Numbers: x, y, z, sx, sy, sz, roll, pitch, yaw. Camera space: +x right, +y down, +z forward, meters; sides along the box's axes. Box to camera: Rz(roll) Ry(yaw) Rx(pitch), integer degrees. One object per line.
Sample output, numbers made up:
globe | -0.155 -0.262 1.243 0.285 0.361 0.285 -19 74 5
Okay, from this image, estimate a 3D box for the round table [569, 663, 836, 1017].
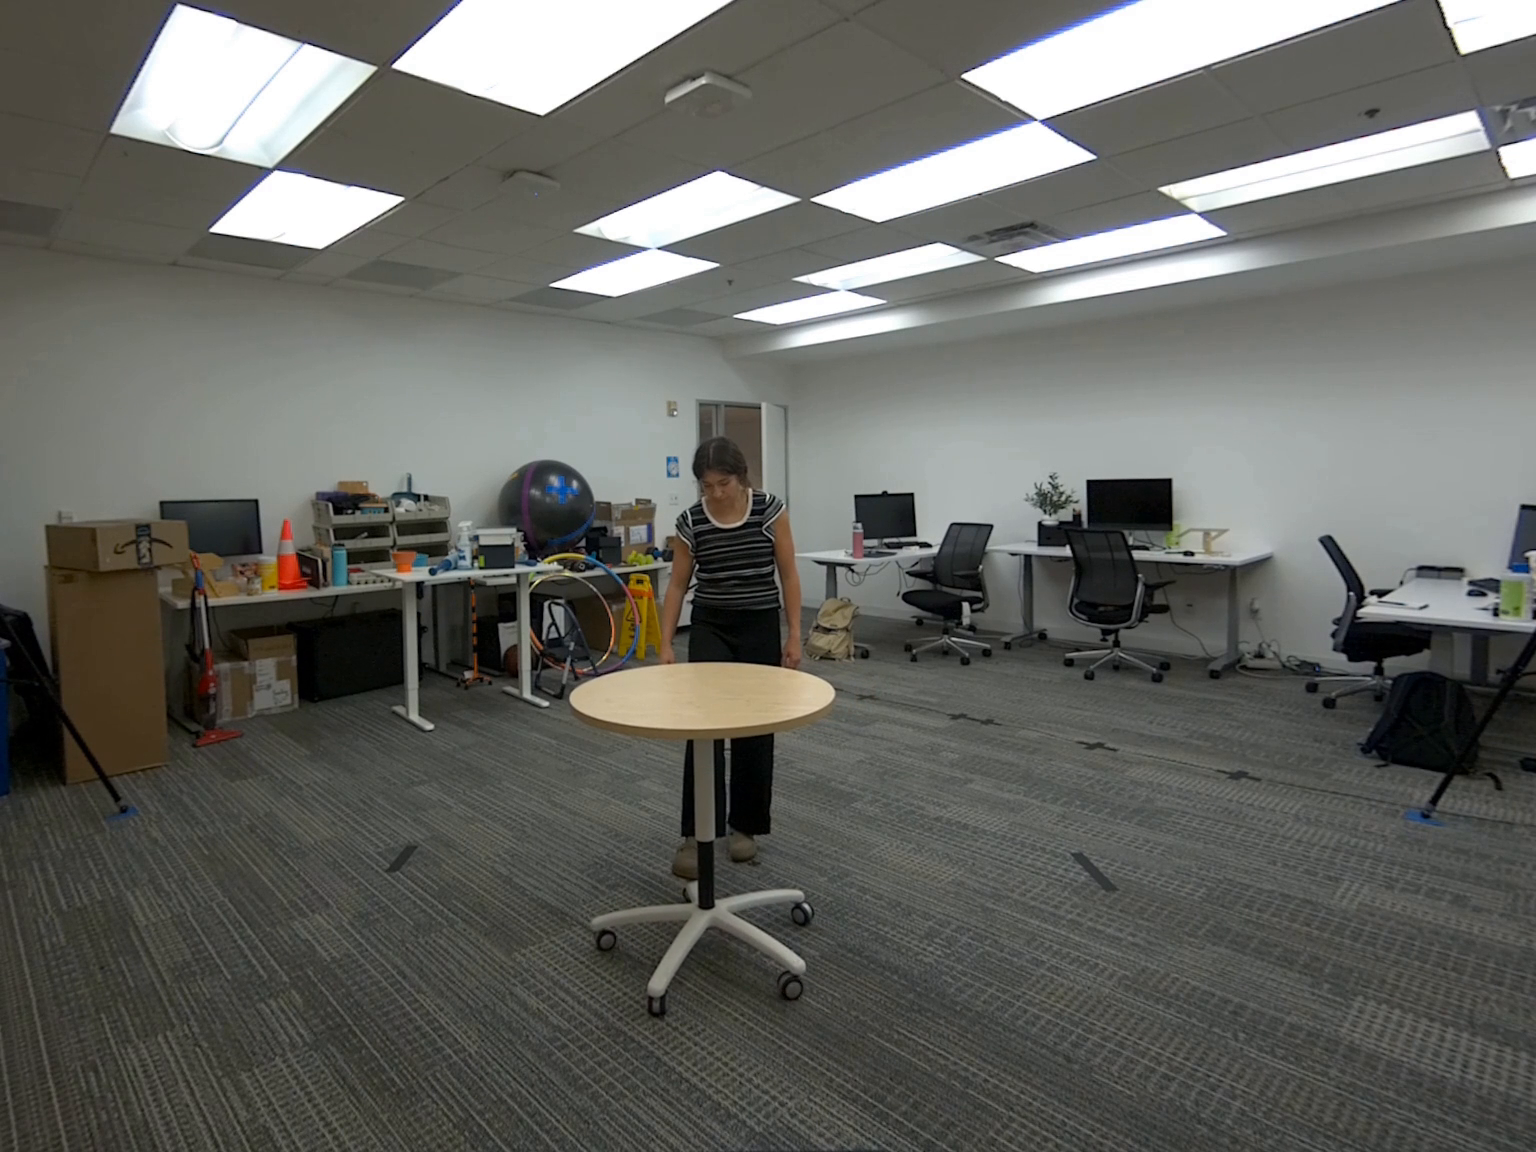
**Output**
round table | -0.188 0.728 2.498 0.784 0.784 0.789 -1 5 -2
